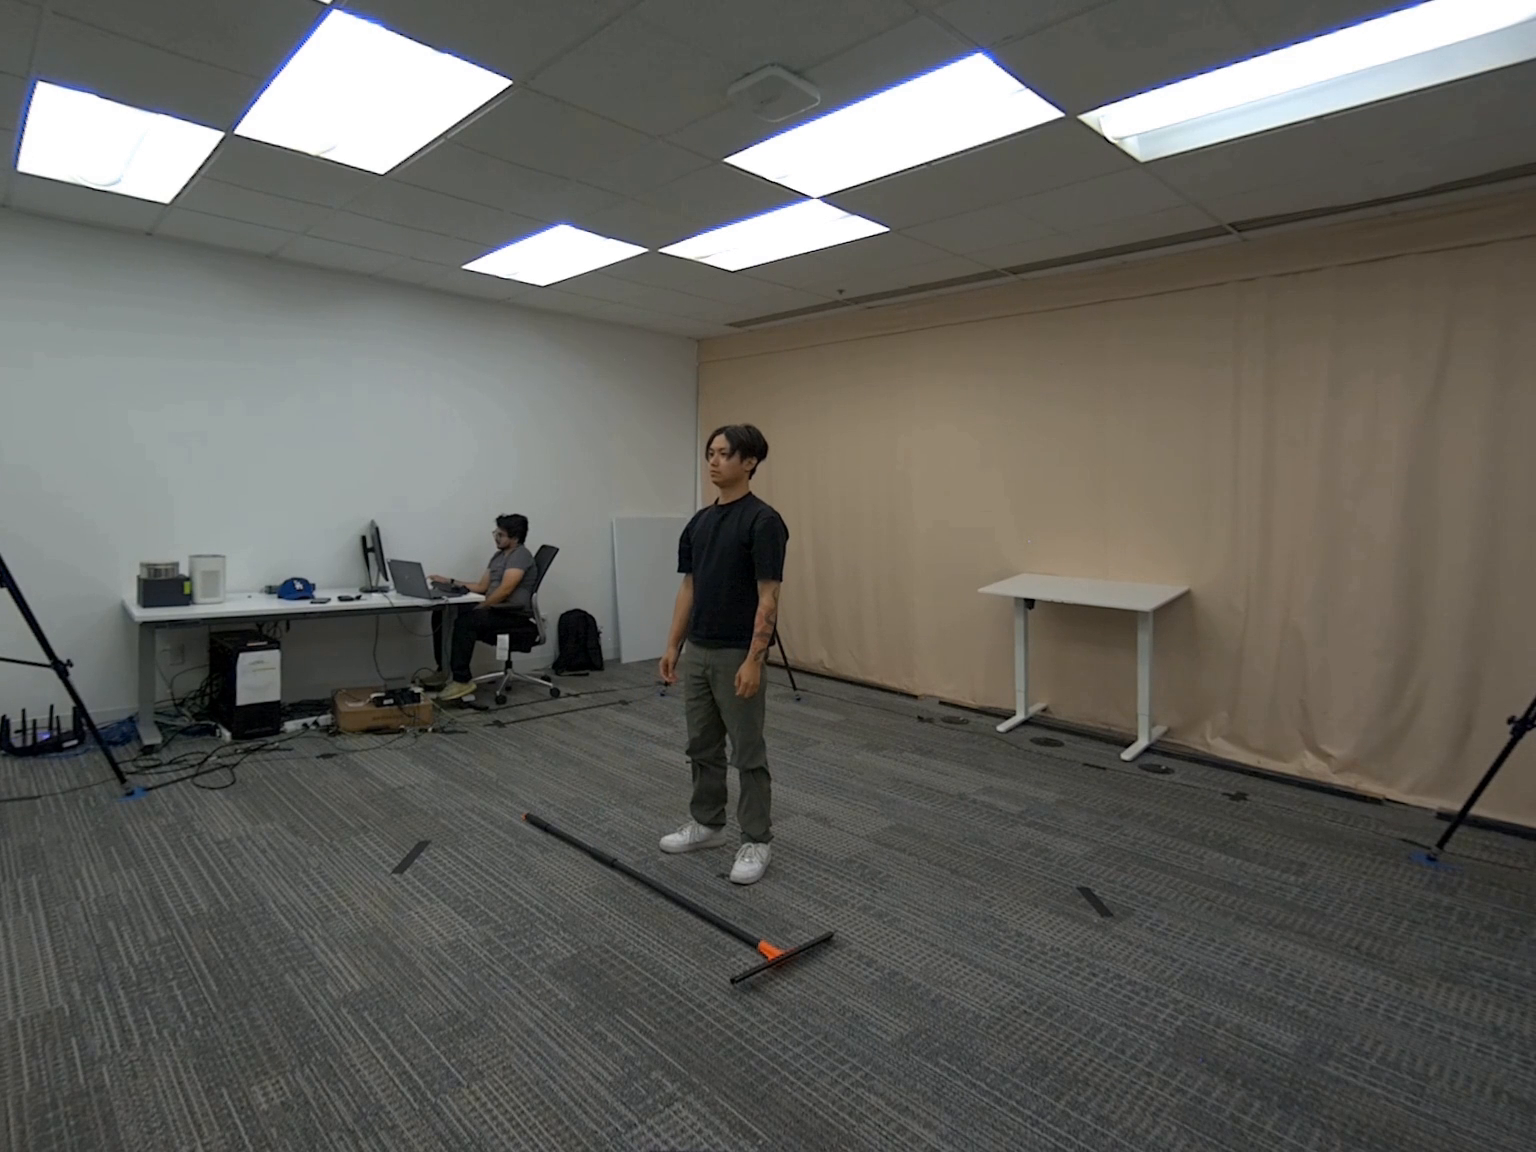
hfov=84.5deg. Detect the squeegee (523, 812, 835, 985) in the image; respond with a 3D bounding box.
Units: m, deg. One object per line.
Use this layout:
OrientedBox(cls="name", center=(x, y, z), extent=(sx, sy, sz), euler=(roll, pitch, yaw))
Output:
OrientedBox(cls="squeegee", center=(-0.479, 1.065, 3.052), extent=(0.427, 0.053, 1.577), euler=(-1, 5, -44))
